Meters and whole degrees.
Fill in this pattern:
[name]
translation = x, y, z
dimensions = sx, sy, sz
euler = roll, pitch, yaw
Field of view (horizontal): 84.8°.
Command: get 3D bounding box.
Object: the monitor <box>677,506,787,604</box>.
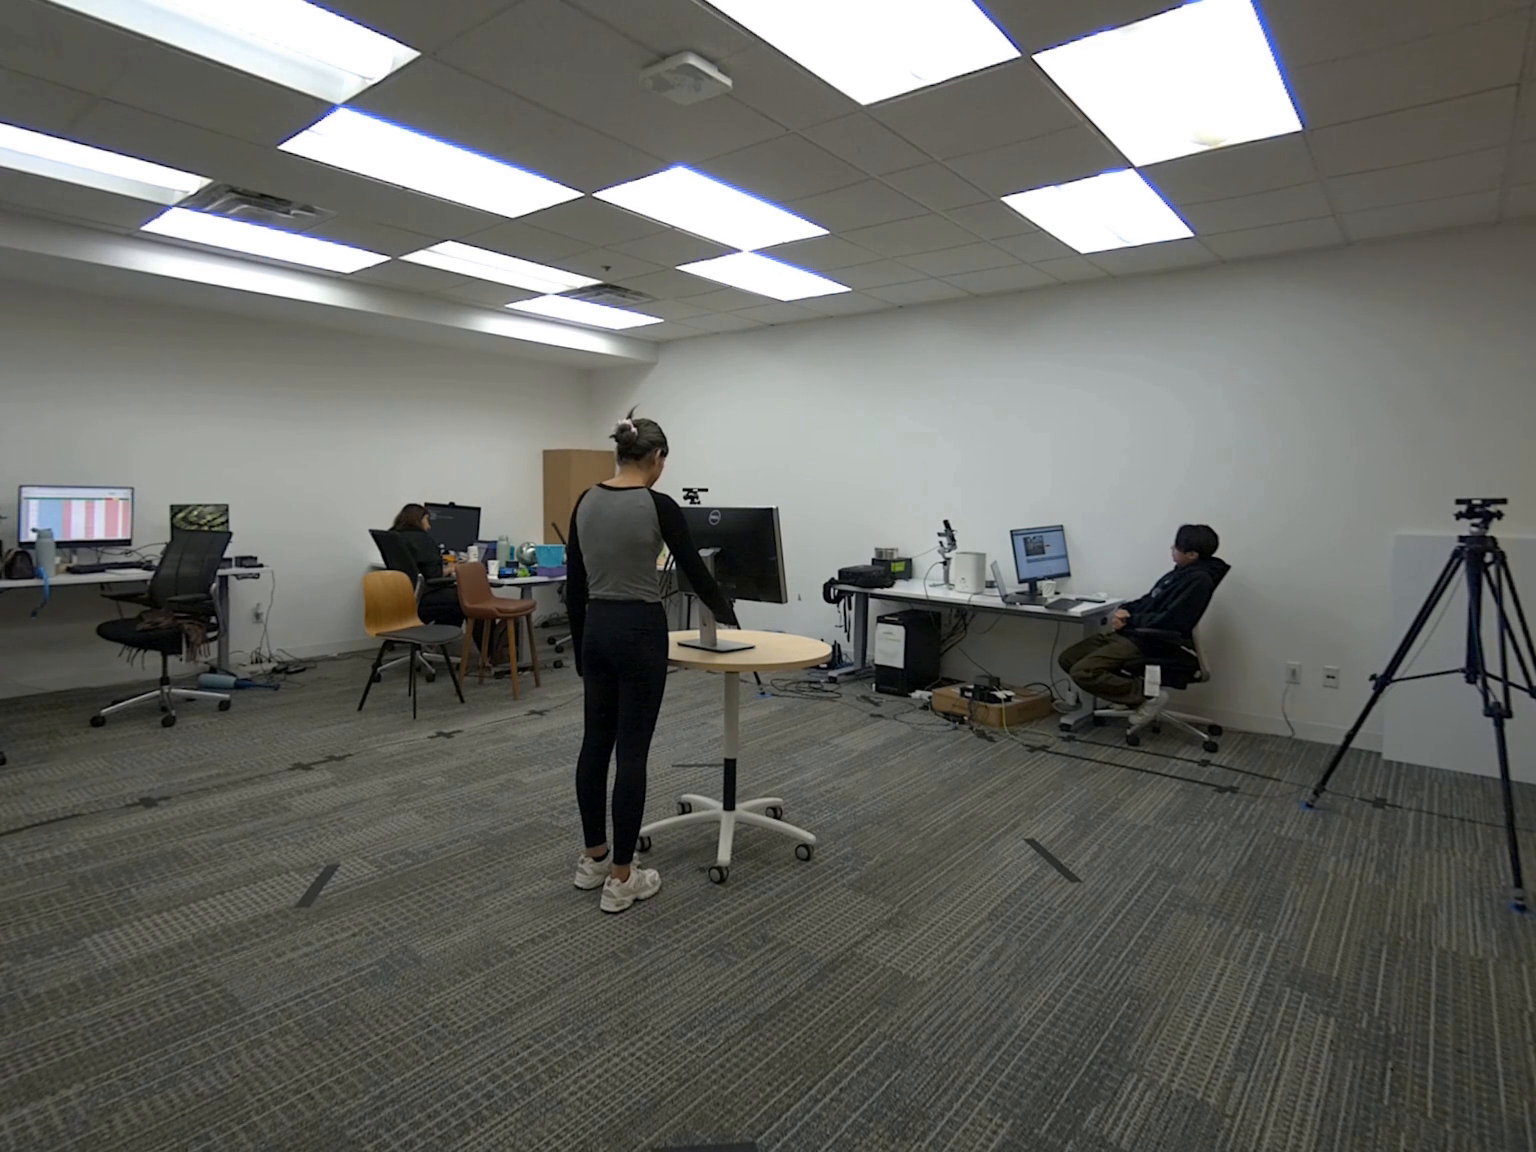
[monitor]
translation = -0.200, 0.002, 3.247
dimensions = 0.557, 0.522, 0.181
euler = 4, 2, 39
